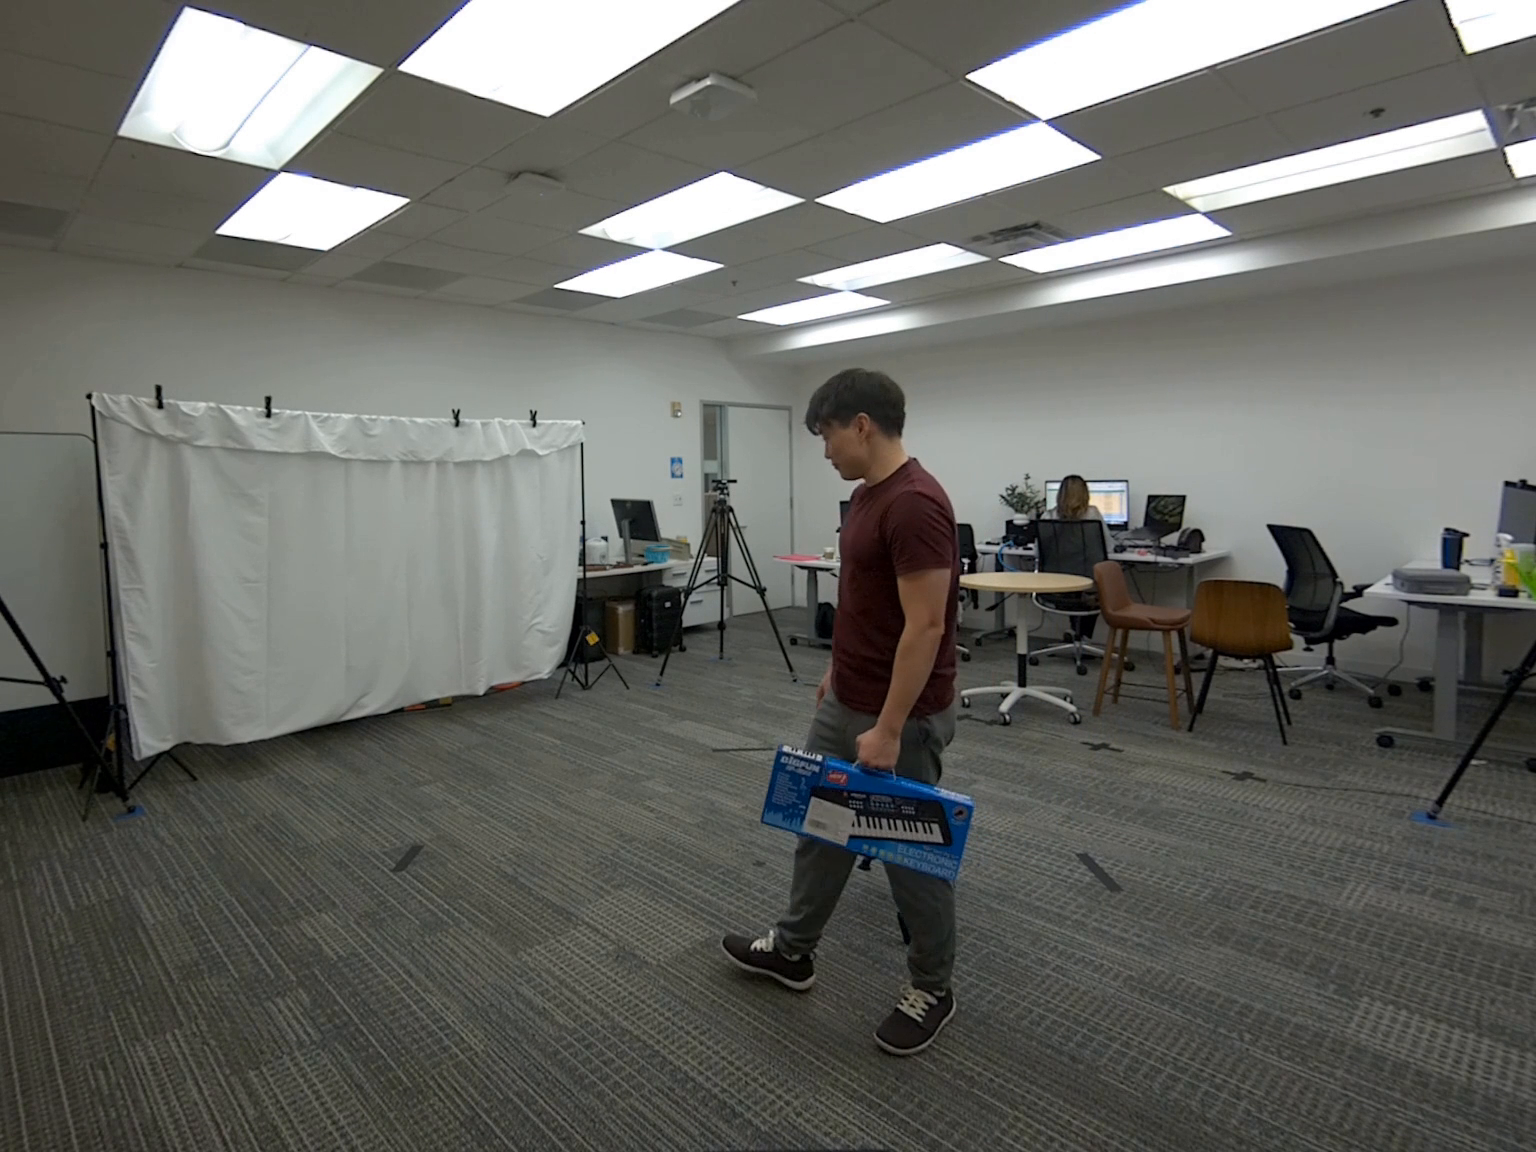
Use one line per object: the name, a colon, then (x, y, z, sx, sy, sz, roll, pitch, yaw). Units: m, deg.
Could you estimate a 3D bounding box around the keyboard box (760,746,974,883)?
keyboard box: (0.225, 0.522, 1.892, 0.442, 0.176, 0.058, 13, 2, 9)
